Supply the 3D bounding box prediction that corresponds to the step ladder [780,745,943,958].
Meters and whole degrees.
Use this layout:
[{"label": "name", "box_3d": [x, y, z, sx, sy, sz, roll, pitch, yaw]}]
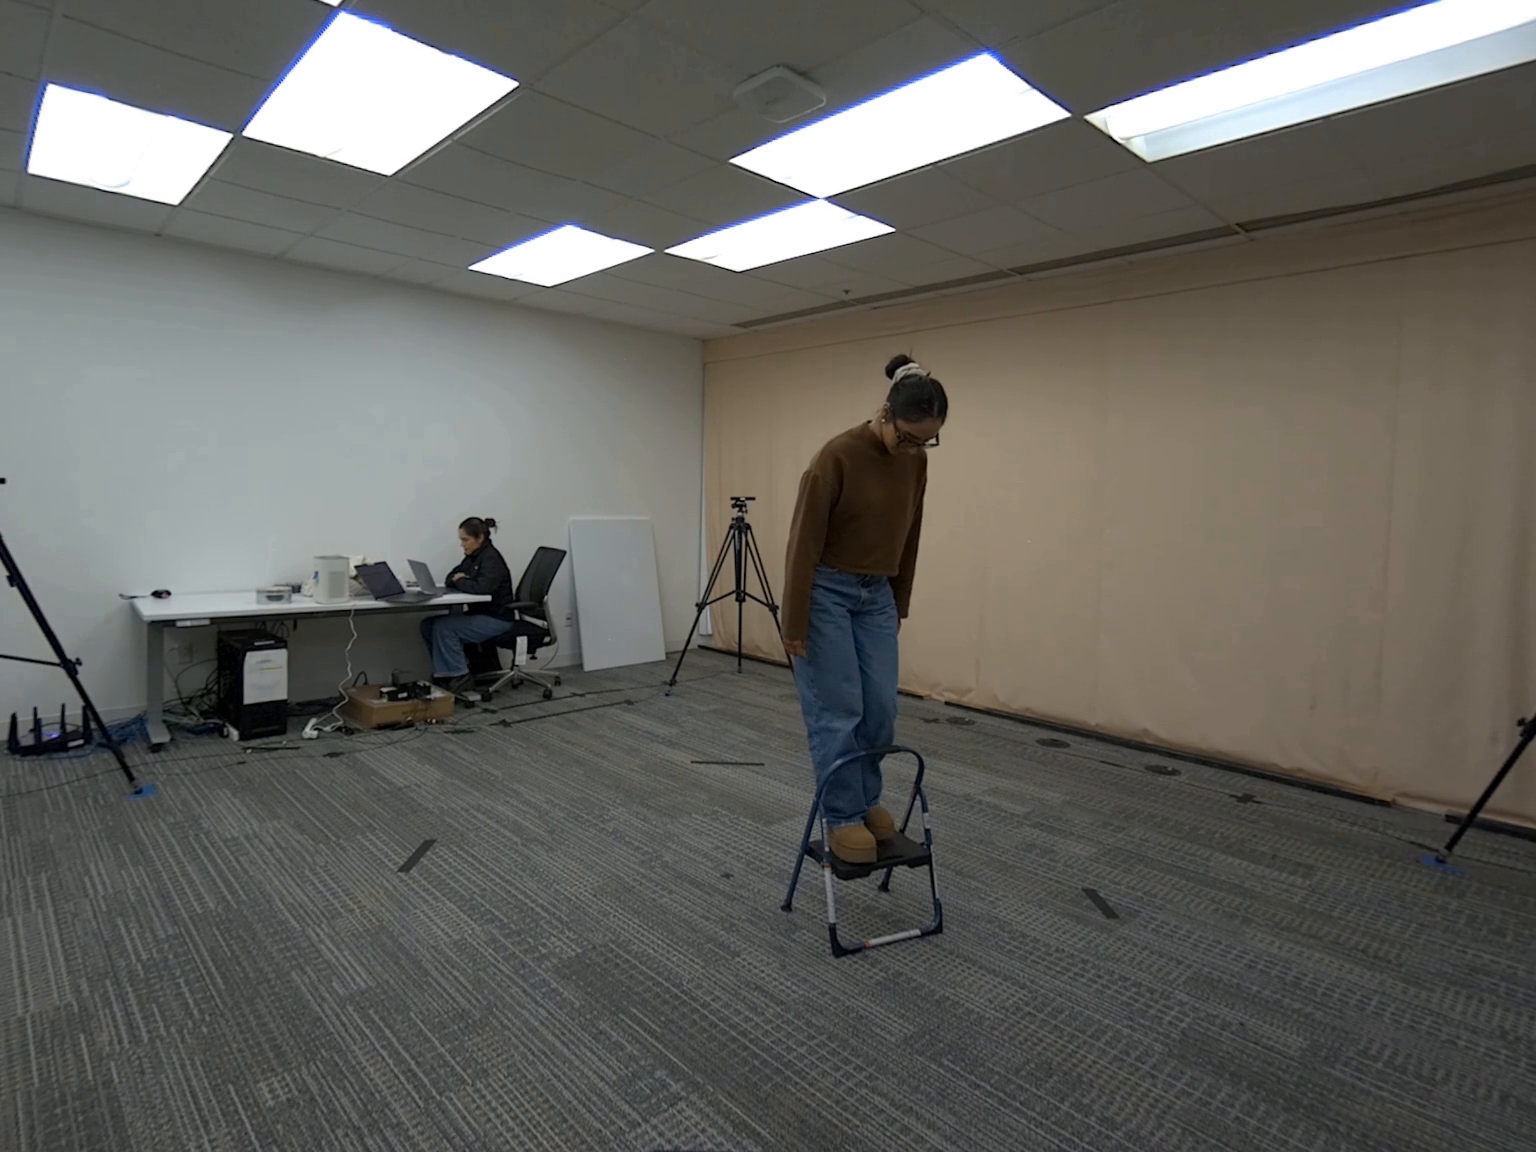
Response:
[{"label": "step ladder", "box_3d": [0.315, 0.845, 2.779, 0.422, 0.604, 0.357, 0, 4, -27]}]
